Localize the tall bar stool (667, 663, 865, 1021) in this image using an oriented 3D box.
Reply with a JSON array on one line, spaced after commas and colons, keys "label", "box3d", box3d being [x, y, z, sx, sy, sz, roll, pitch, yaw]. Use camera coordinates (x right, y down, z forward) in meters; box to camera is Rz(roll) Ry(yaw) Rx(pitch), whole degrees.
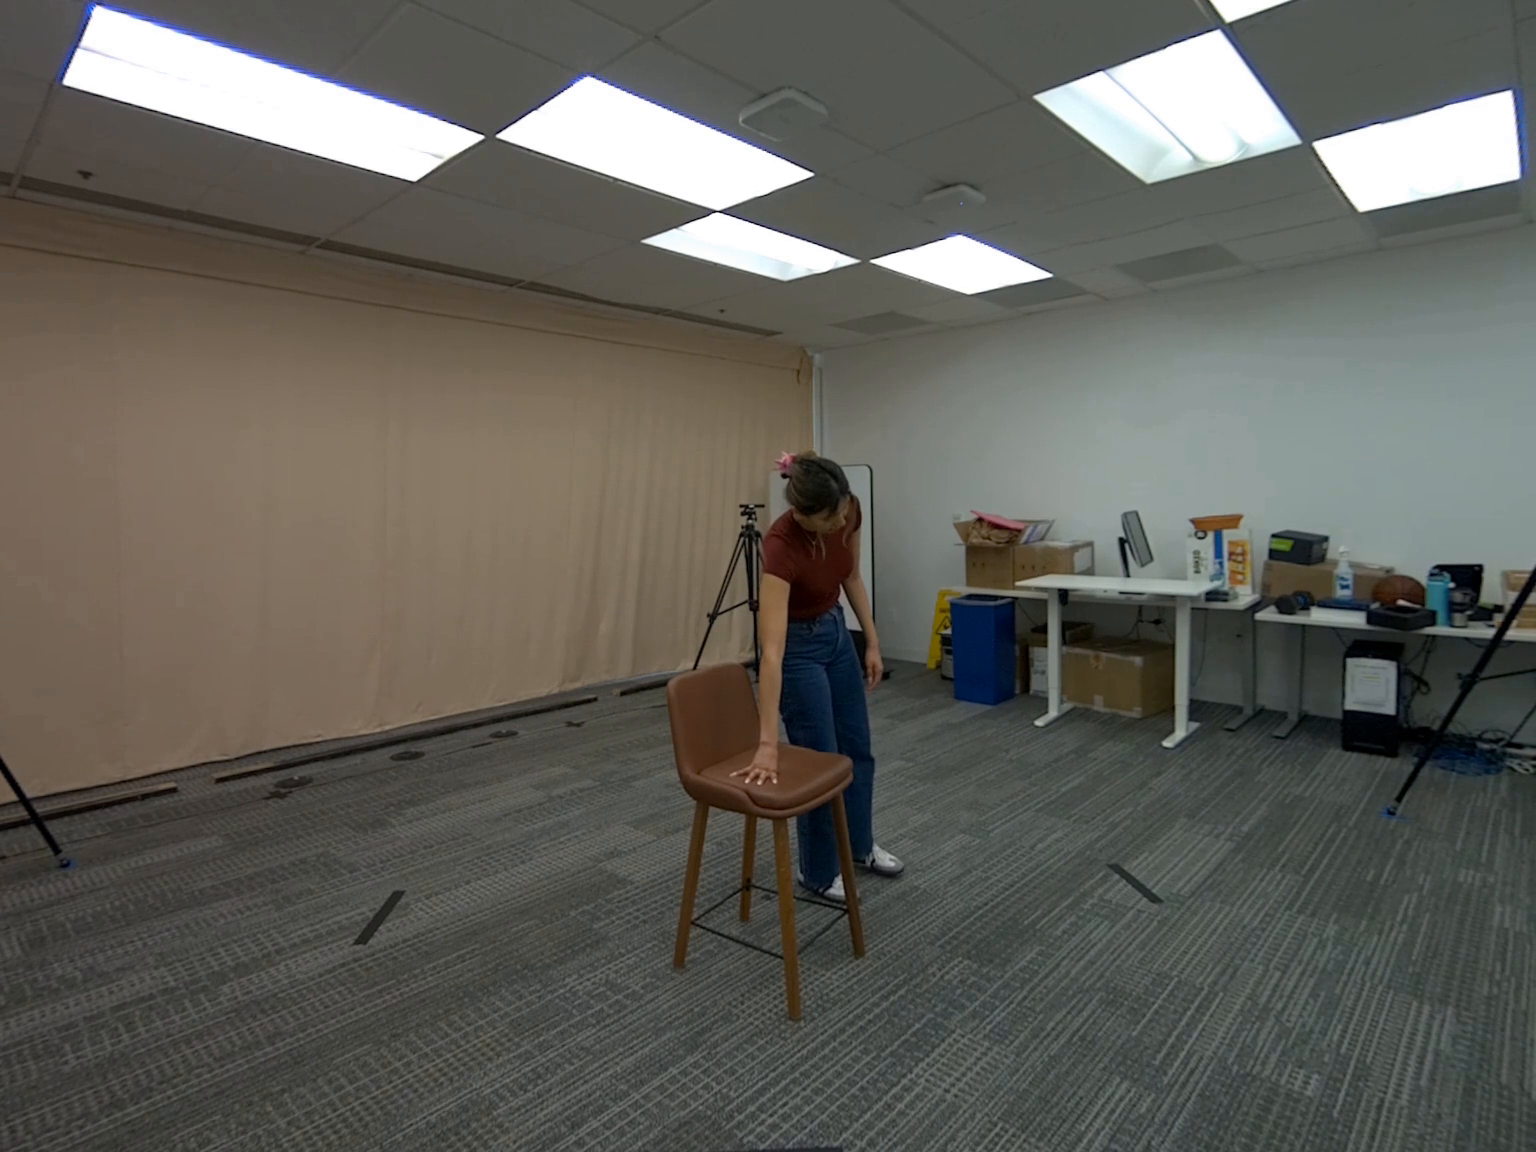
[{"label": "tall bar stool", "box3d": [-0.010, 0.746, 2.539, 0.482, 0.888, 0.443, -1, 3, 35]}]
